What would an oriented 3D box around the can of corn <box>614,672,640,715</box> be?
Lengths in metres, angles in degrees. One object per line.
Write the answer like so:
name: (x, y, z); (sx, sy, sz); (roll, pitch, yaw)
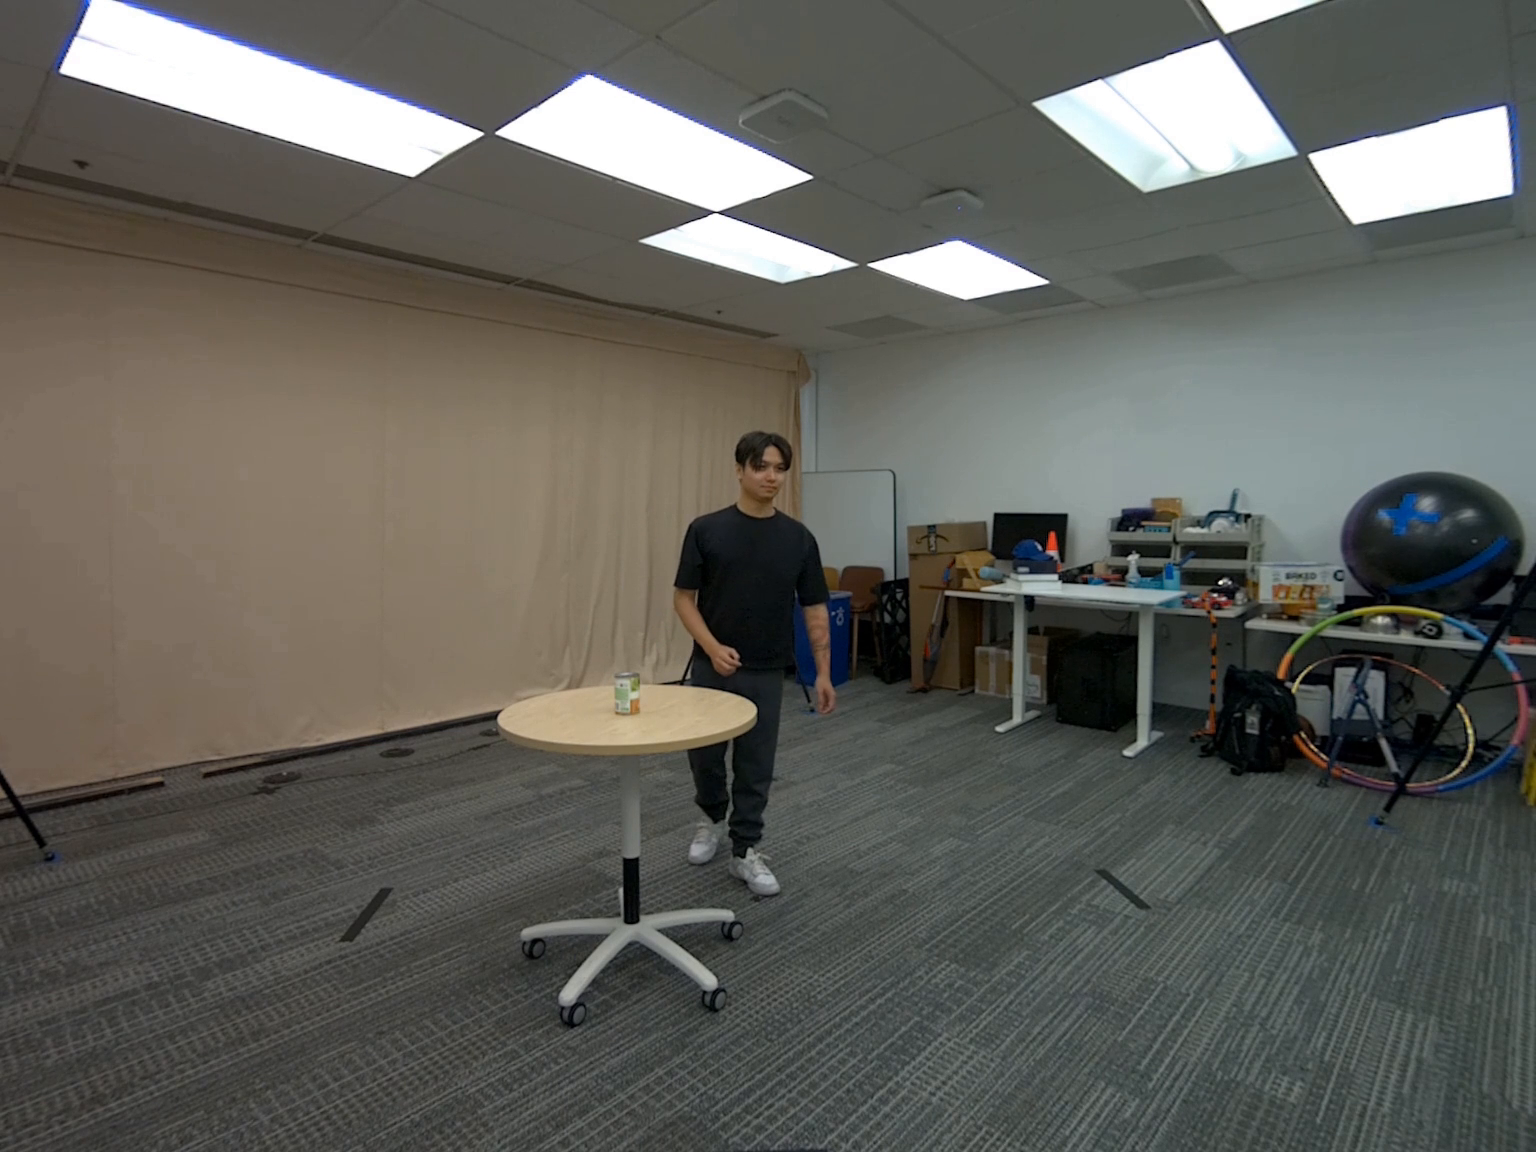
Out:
can of corn: (-0.415, 0.346, 2.492); (0.074, 0.111, 0.074); (-5, 4, -2)
